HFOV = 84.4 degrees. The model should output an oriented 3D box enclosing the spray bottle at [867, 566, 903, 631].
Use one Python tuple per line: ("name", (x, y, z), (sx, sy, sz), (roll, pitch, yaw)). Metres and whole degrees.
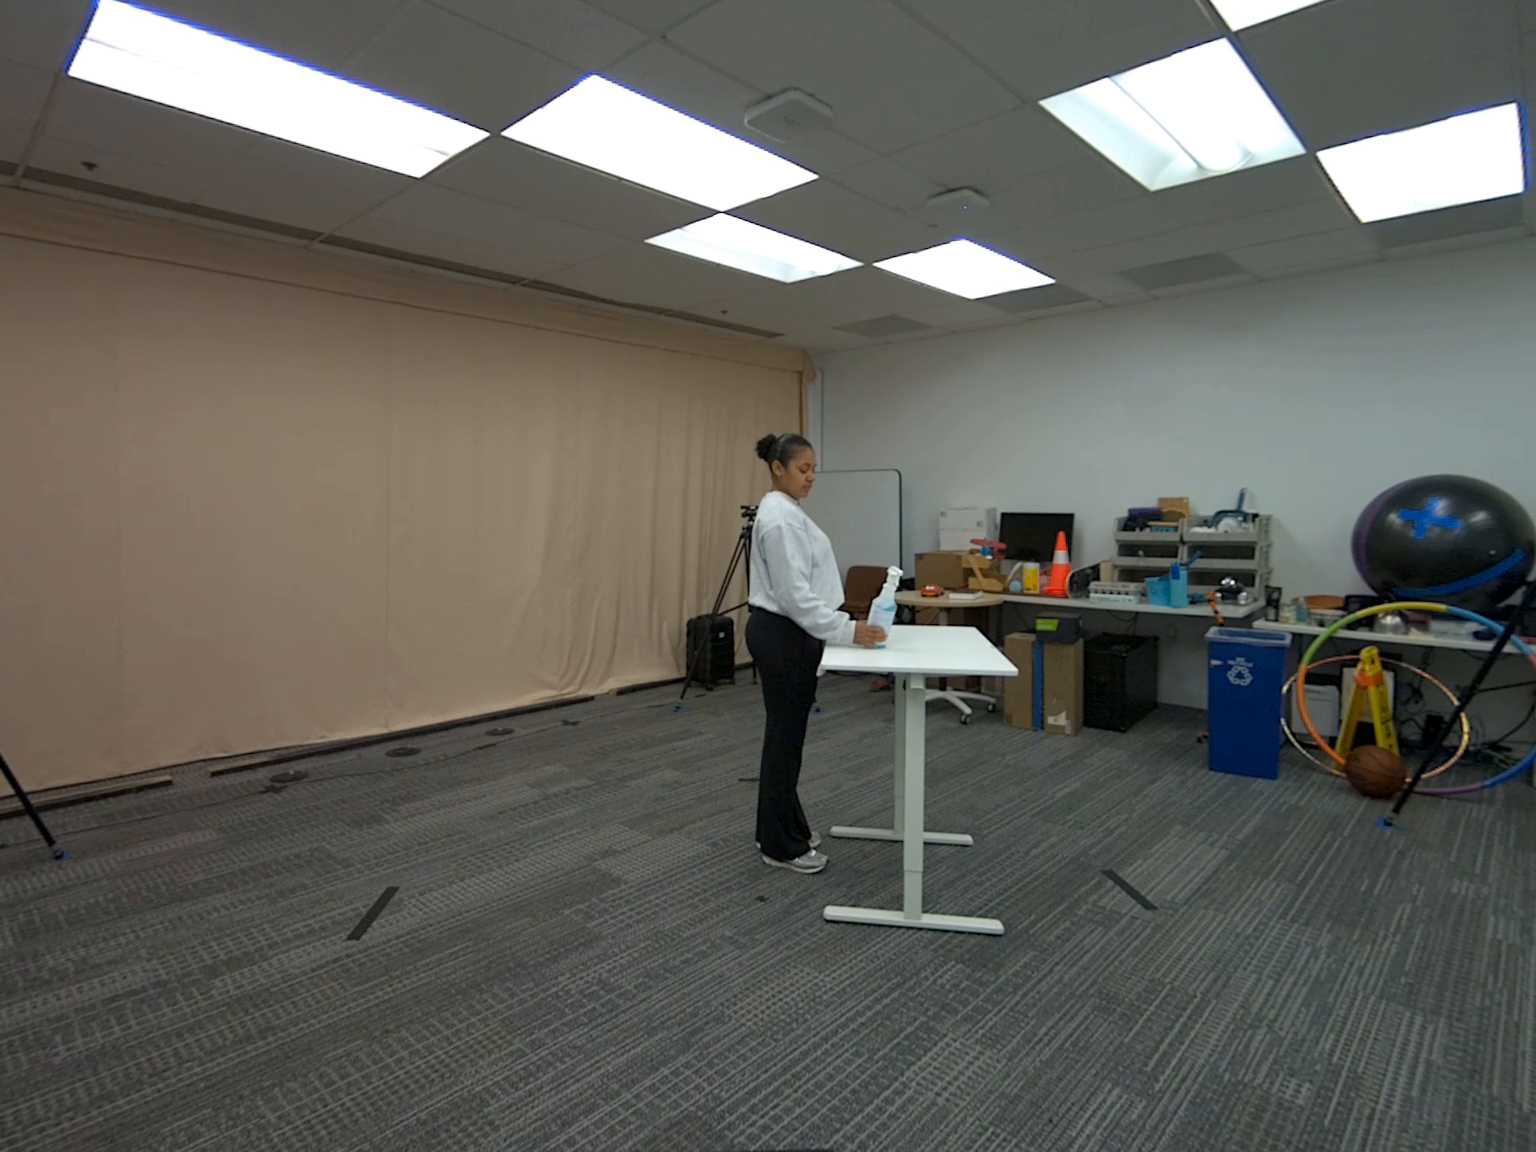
("spray bottle", (0.418, 0.096, 2.980), (0.088, 0.295, 0.090), (12, 15, 6))
